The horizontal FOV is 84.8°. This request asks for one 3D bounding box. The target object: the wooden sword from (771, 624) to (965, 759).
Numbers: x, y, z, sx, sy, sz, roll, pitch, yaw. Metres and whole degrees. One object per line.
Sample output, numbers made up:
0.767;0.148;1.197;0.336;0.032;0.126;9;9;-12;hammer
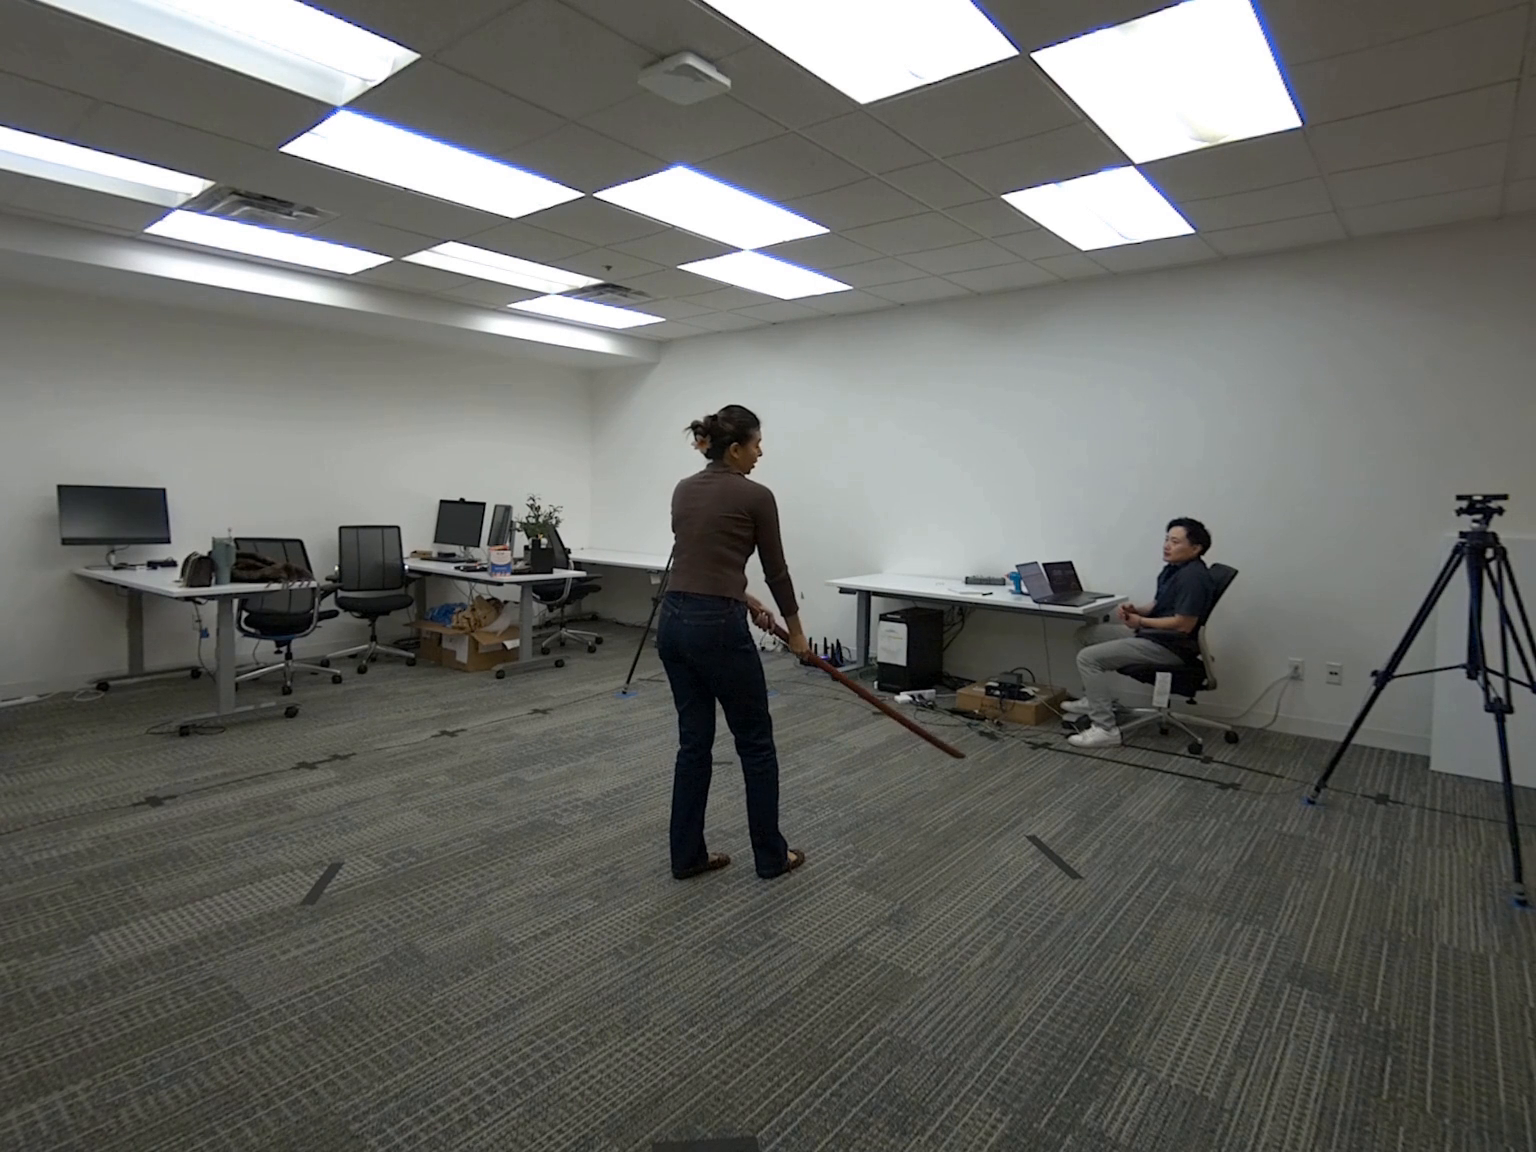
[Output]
0.343;0.414;3.249;1.016;0.051;0.024;37;13;-6;wooden sword
